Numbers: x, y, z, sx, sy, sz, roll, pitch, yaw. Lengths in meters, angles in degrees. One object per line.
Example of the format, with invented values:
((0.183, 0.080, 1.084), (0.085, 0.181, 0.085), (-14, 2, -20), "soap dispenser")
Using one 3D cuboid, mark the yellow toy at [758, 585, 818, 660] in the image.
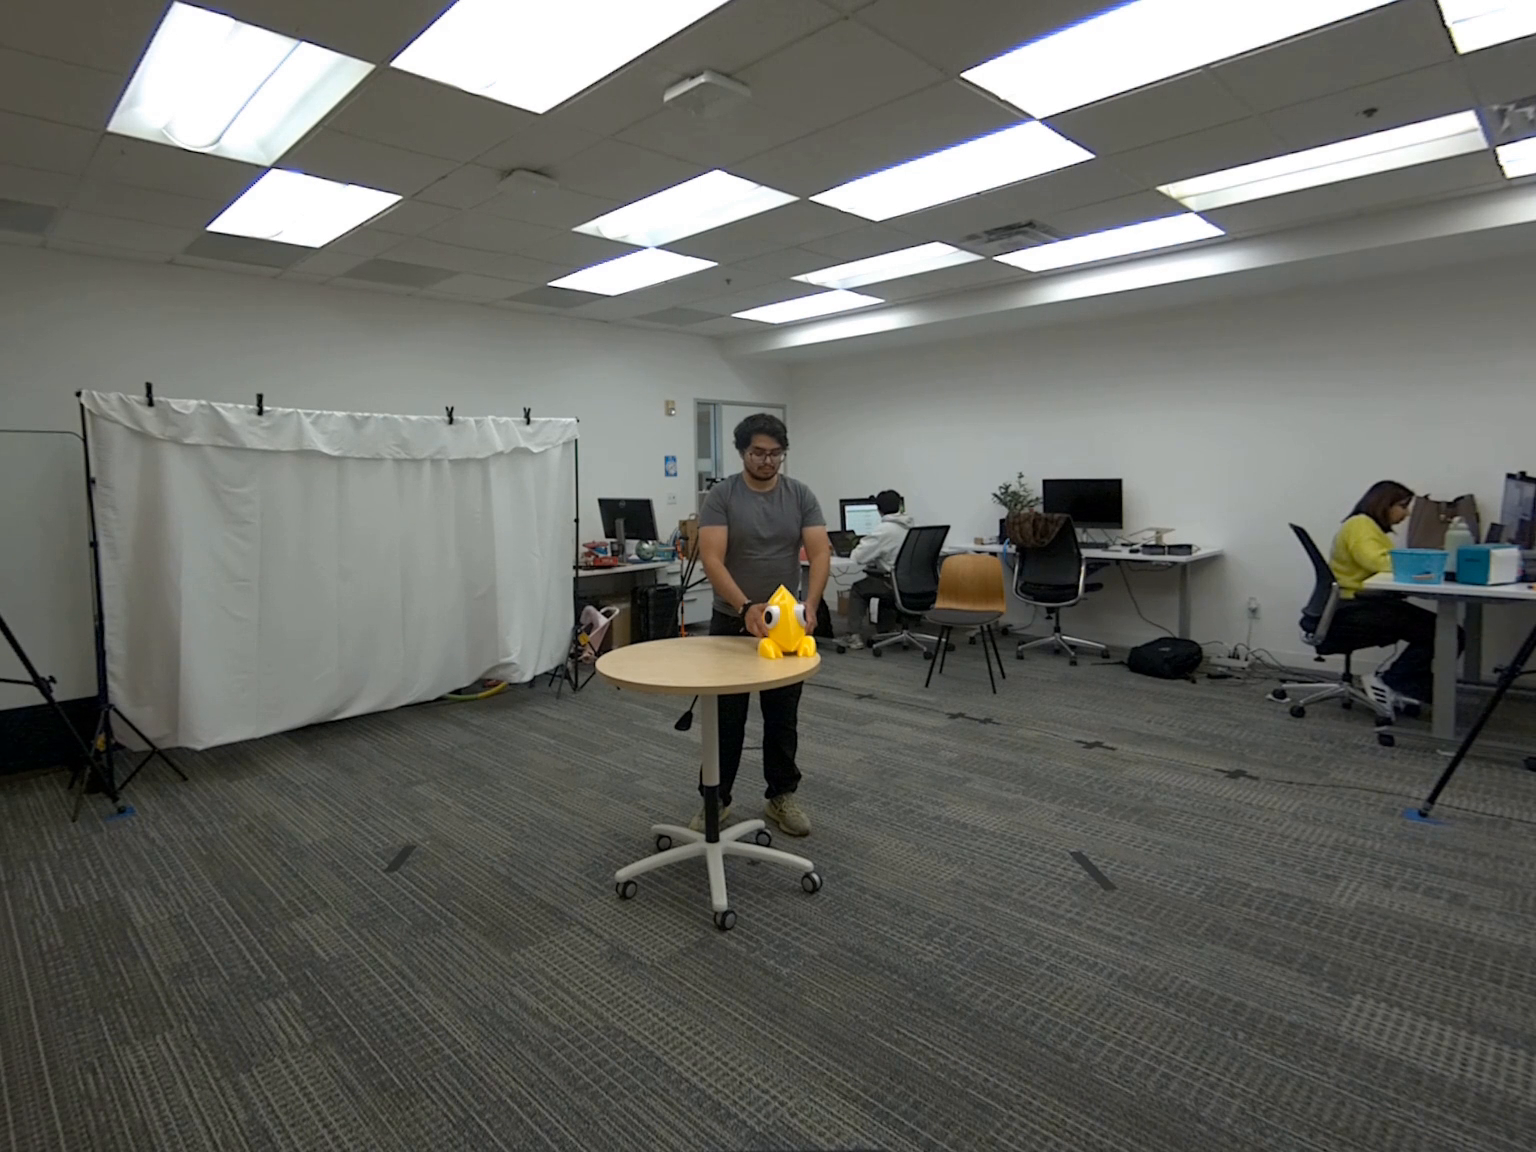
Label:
((0.062, 0.156, 2.980), (0.203, 0.229, 0.195), (-3, 6, -8), "yellow toy")
